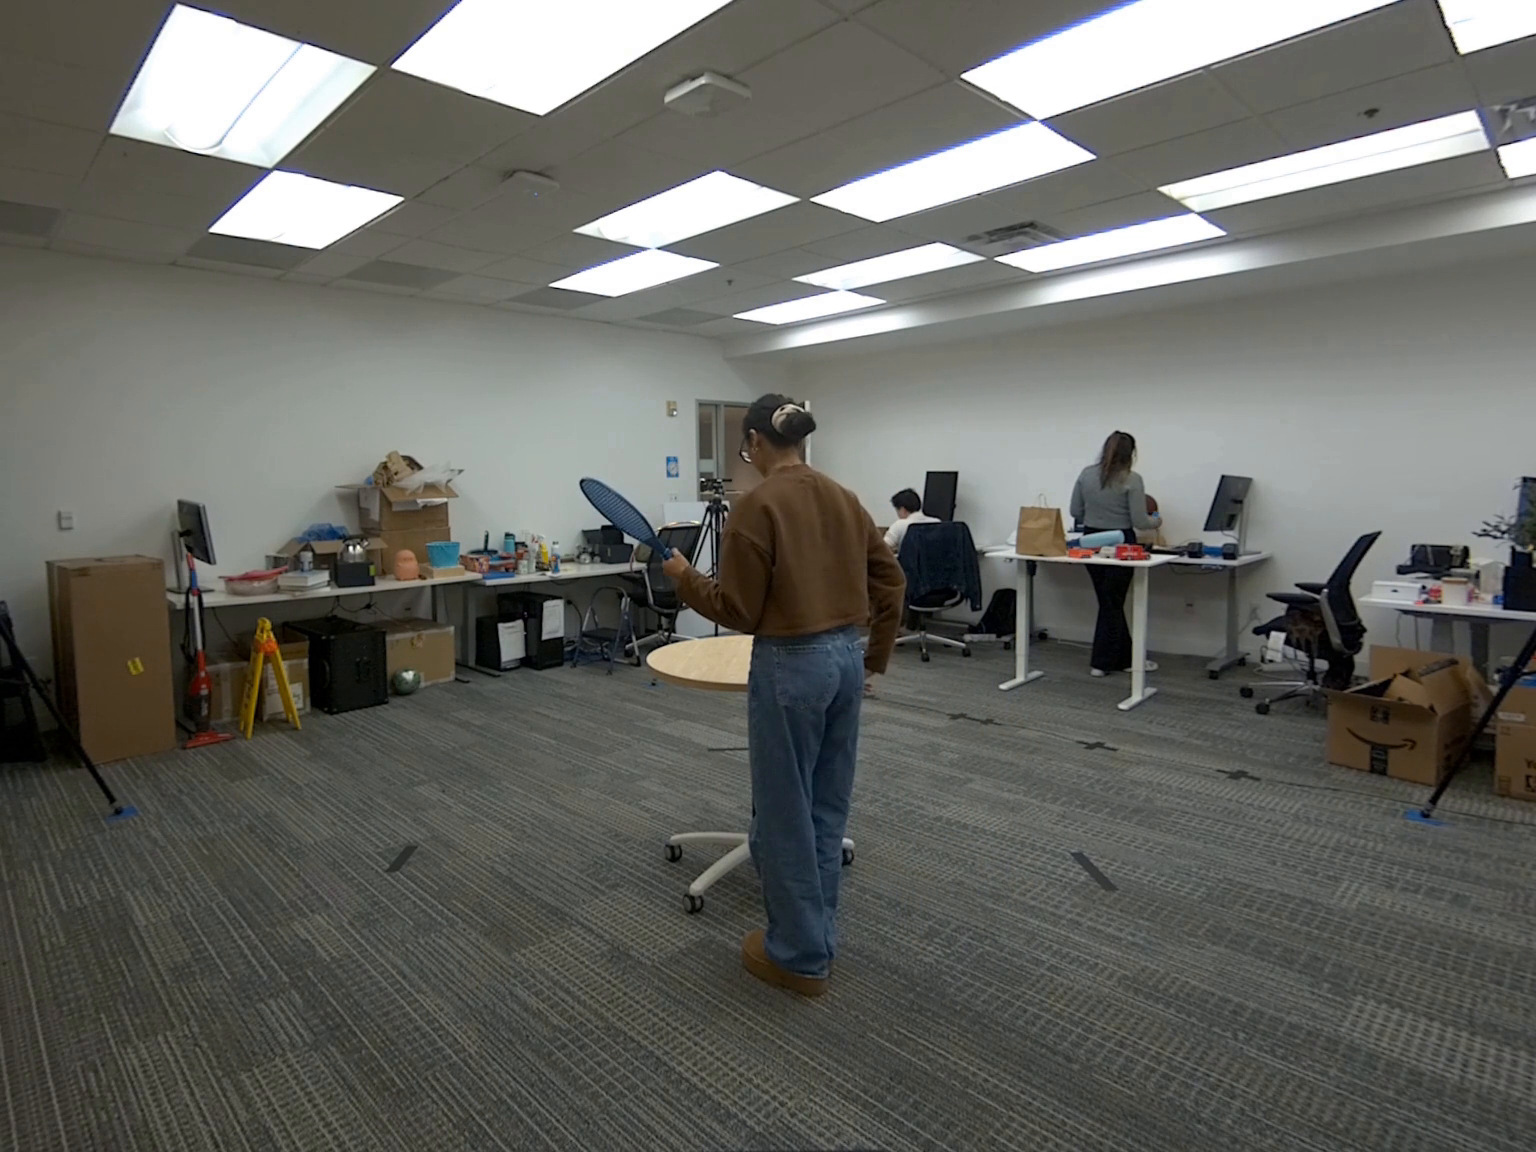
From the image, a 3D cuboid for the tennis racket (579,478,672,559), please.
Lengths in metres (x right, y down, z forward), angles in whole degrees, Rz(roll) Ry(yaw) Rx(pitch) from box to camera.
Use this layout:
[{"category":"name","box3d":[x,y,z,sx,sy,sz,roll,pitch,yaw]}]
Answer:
[{"category":"tennis racket","box3d":[-0.349,-0.137,2.437,0.425,0.032,0.217,44,-24,-14]}]
